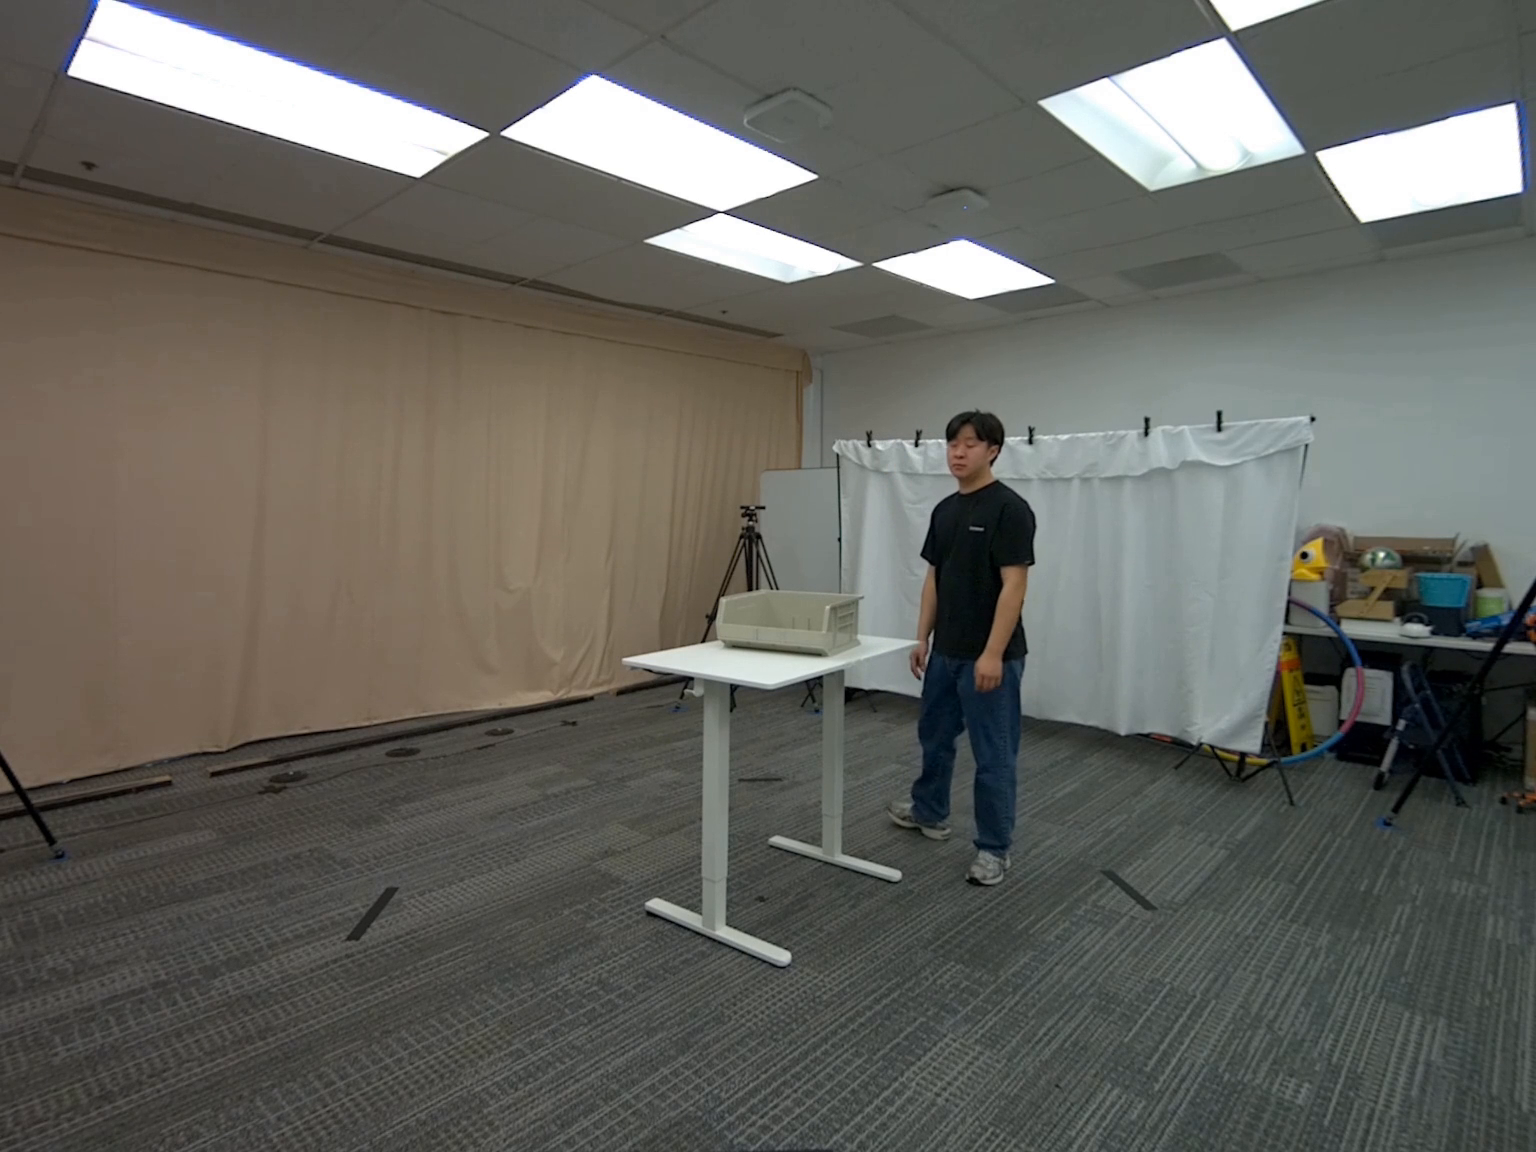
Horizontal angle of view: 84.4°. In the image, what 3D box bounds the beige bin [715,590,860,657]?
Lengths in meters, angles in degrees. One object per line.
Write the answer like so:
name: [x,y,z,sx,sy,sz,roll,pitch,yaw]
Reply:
beige bin: [0.091,0.172,3.050,0.434,0.189,0.368,2,4,28]
